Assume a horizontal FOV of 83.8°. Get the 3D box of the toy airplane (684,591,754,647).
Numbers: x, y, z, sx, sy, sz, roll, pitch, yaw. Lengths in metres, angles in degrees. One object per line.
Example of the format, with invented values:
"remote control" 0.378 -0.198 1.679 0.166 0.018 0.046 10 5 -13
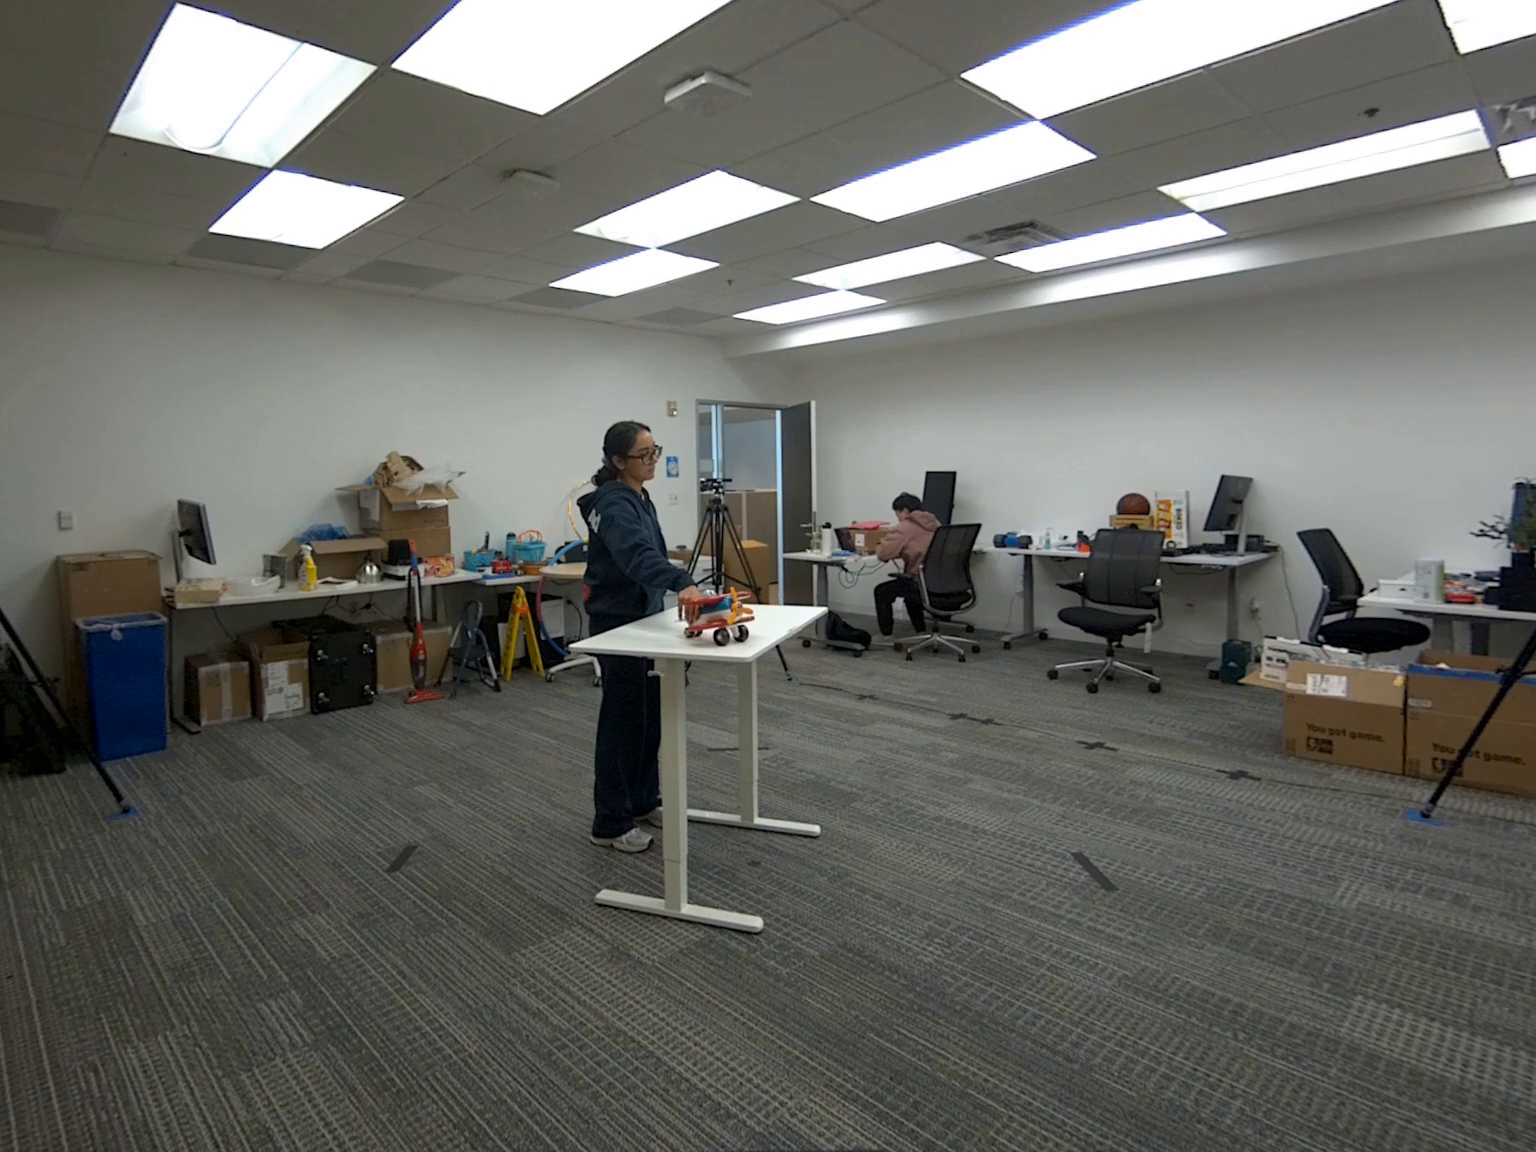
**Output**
"toy airplane" -0.187 0.133 2.717 0.264 0.156 0.248 2 5 17
